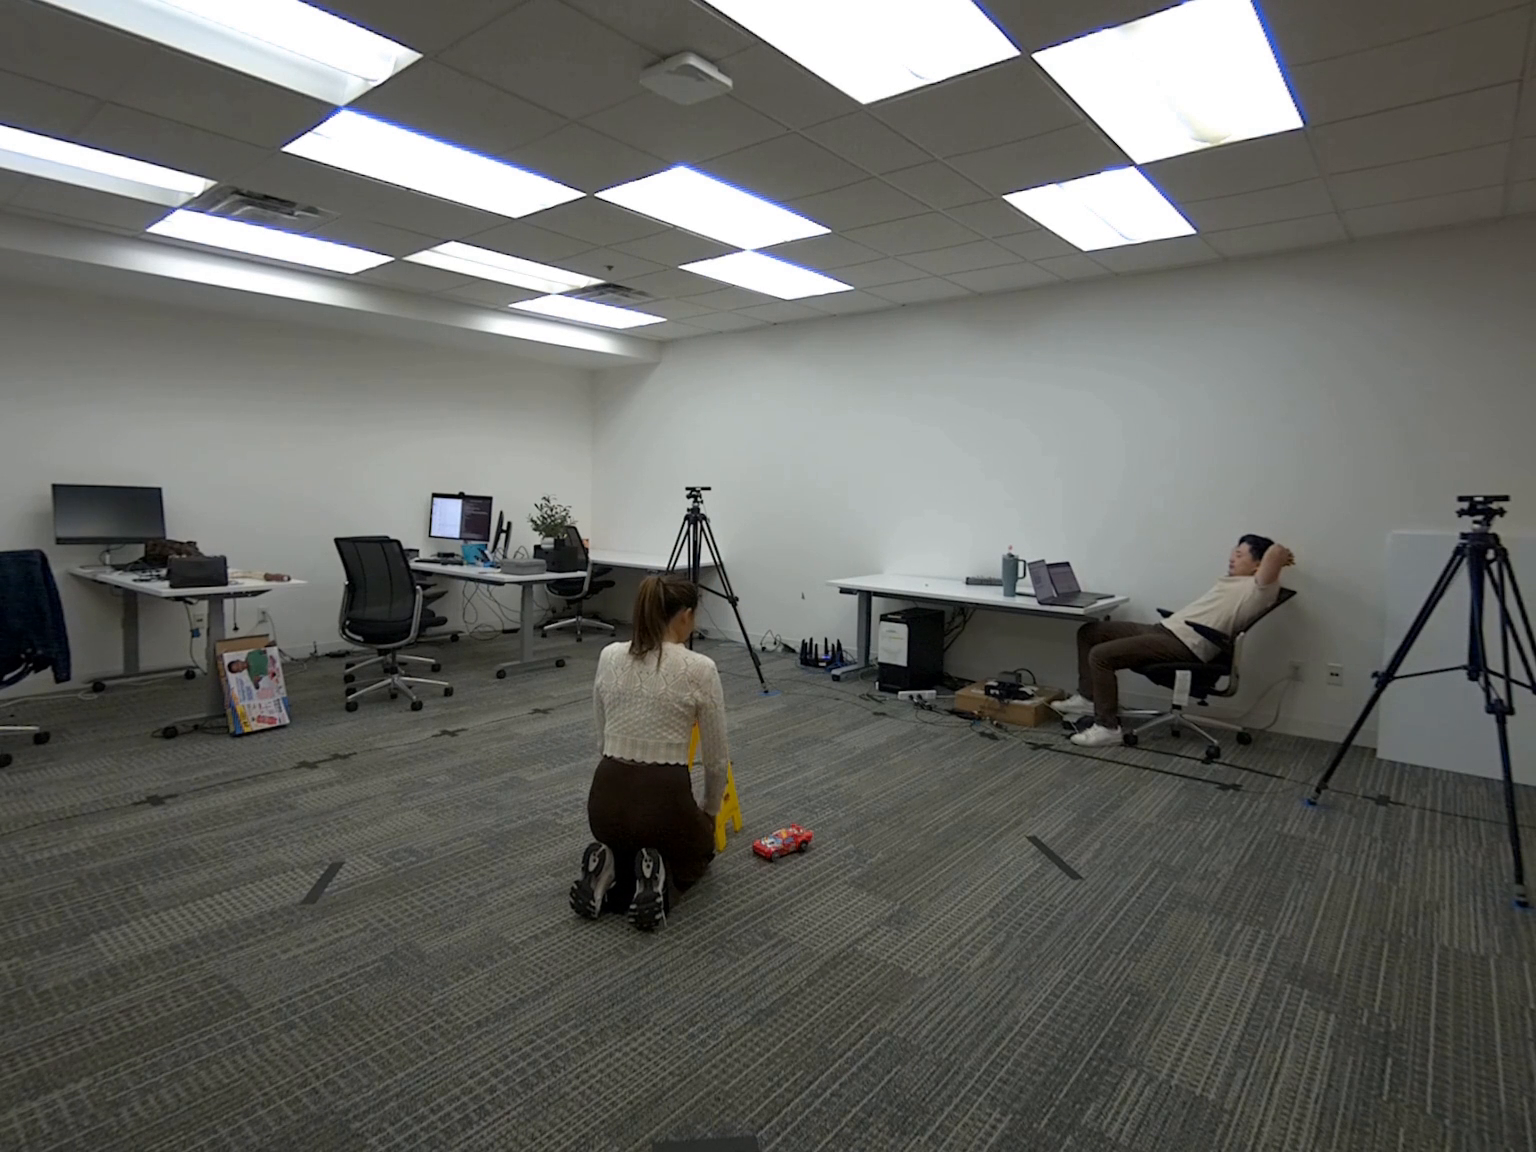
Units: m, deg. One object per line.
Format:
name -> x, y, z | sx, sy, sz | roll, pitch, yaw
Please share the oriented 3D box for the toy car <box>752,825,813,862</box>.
toy car -> 0.066, 1.026, 3.270 | 0.249, 0.082, 0.135 | -17, 14, -37
